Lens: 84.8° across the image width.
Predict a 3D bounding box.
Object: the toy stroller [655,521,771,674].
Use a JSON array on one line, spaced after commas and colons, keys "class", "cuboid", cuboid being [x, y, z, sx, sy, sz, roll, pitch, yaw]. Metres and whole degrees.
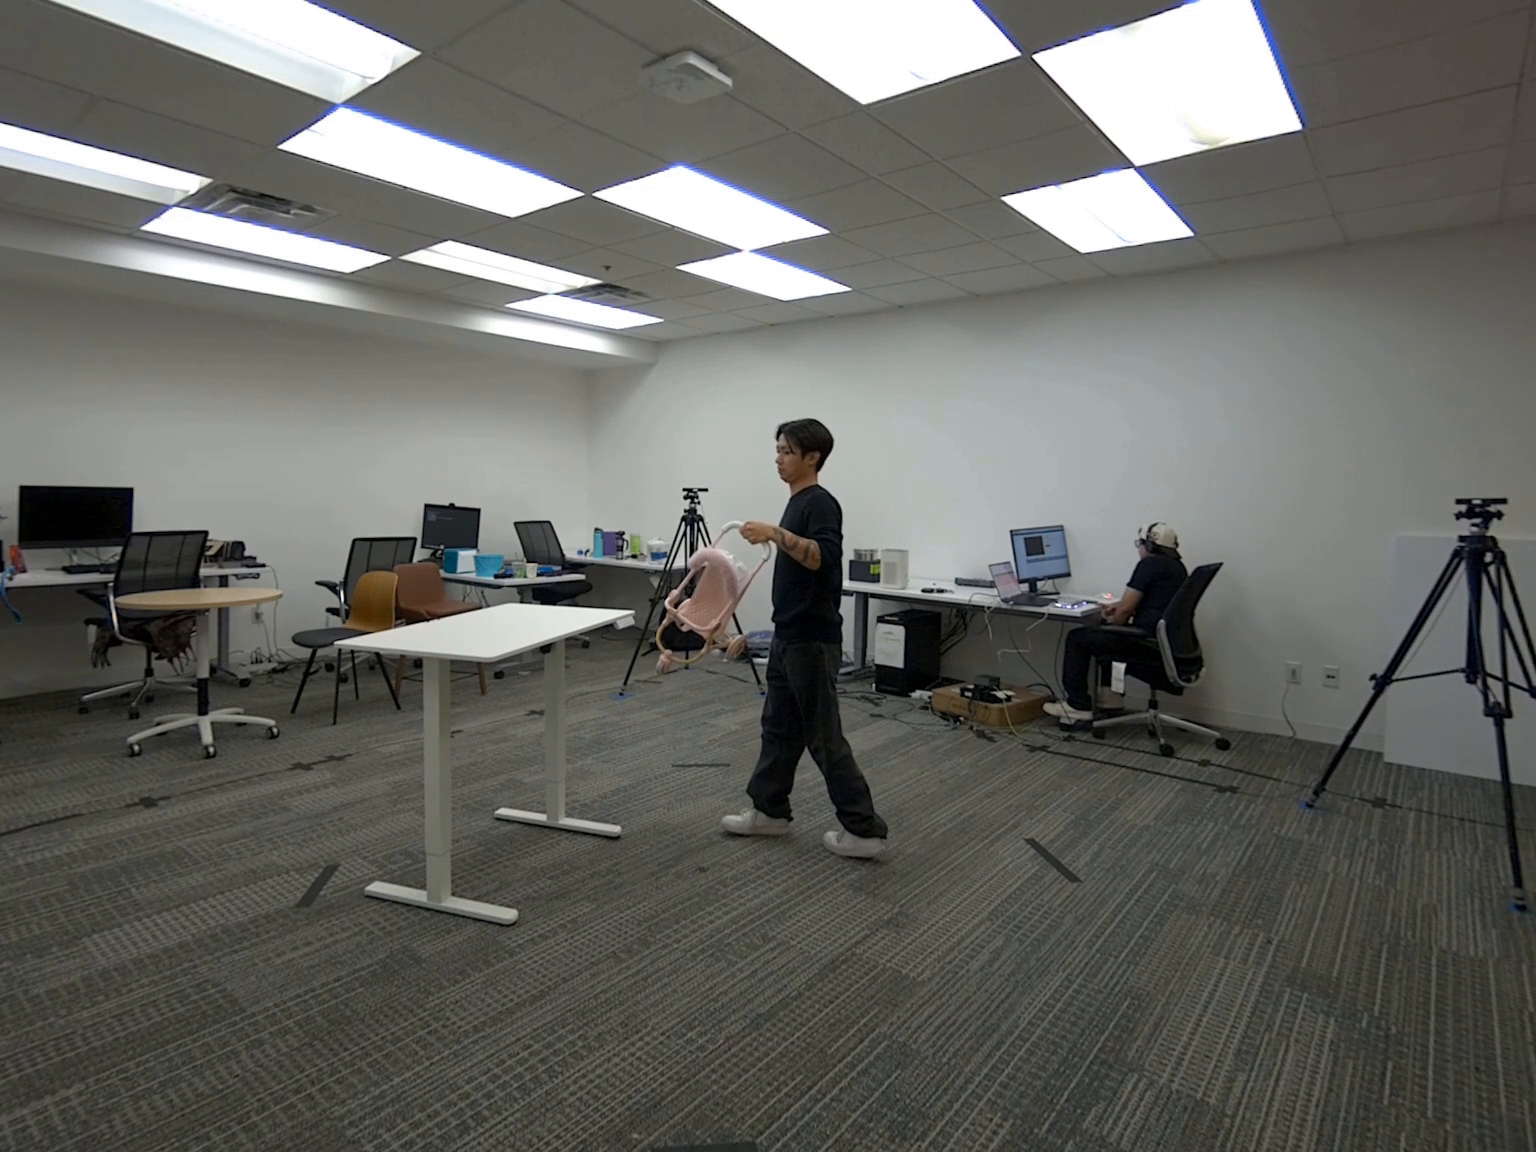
[{"class": "toy stroller", "cuboid": [-0.231, 0.096, 3.047, 0.291, 0.528, 0.334, 37, 31, 24]}]
